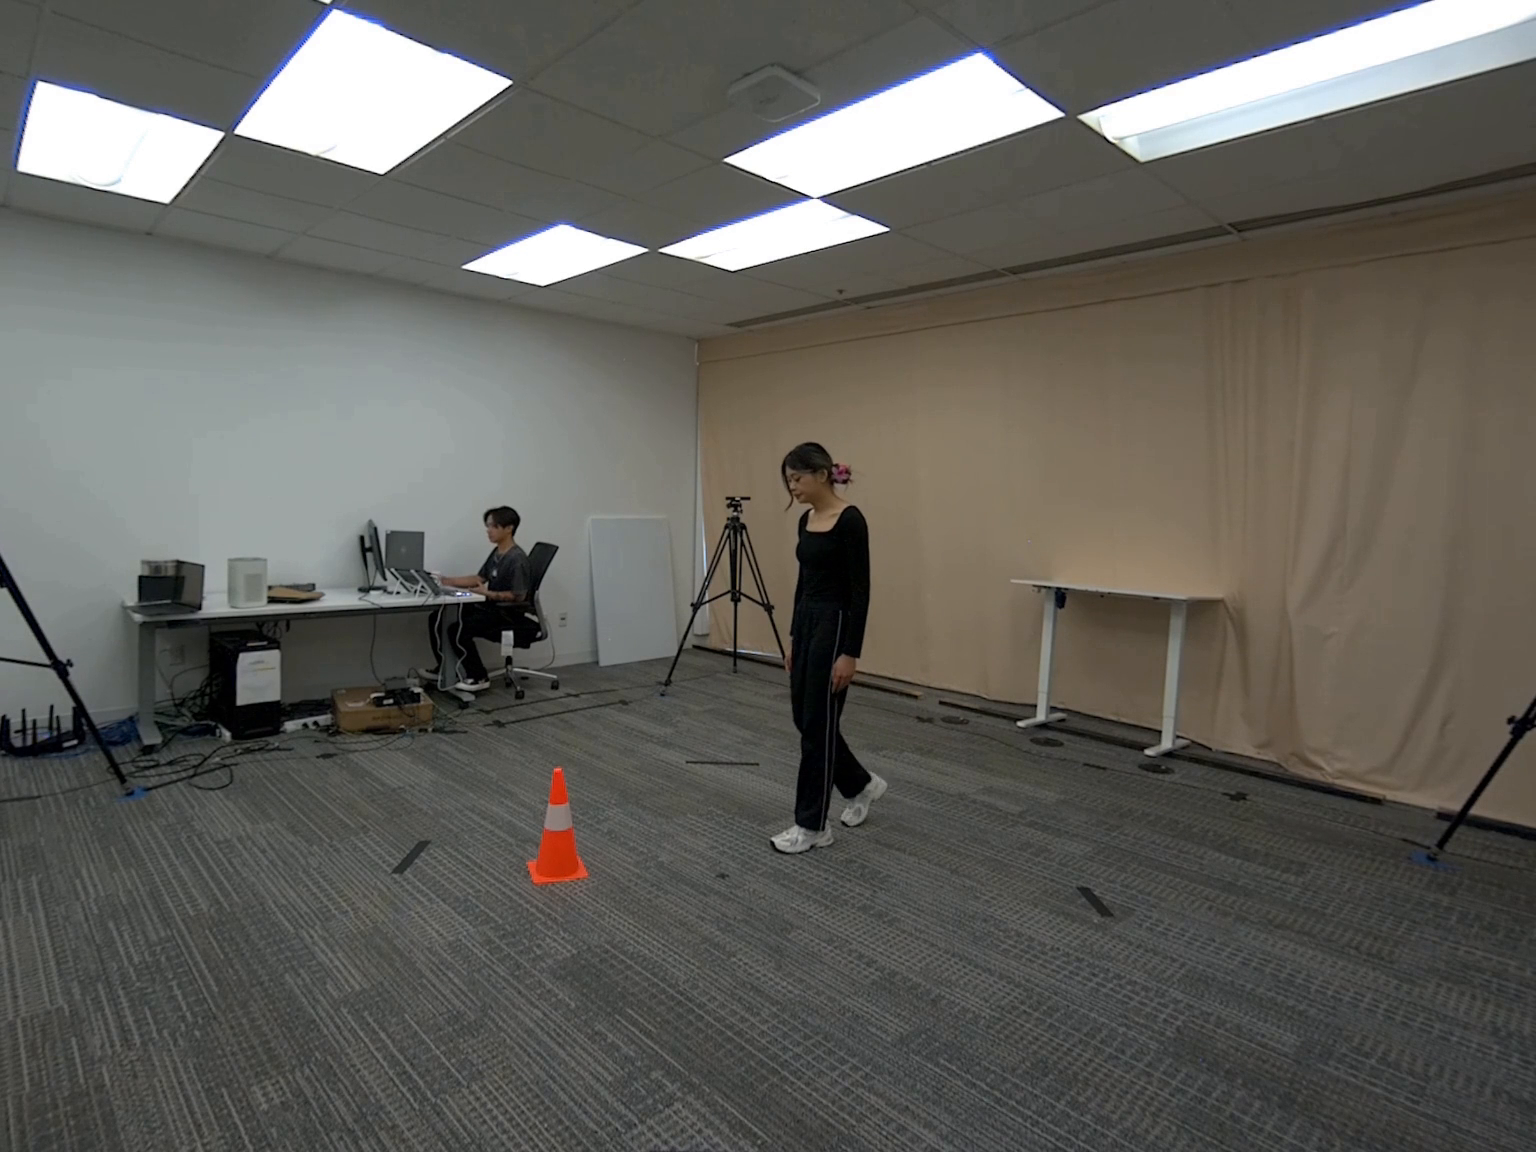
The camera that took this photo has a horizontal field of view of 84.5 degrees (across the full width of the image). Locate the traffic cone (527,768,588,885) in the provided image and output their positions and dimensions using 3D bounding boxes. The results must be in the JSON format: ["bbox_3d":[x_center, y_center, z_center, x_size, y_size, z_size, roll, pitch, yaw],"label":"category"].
[{"bbox_3d":[-0.791,0.908,3.113,0.202,0.382,0.207,-1,4,-21],"label":"traffic cone"}]
